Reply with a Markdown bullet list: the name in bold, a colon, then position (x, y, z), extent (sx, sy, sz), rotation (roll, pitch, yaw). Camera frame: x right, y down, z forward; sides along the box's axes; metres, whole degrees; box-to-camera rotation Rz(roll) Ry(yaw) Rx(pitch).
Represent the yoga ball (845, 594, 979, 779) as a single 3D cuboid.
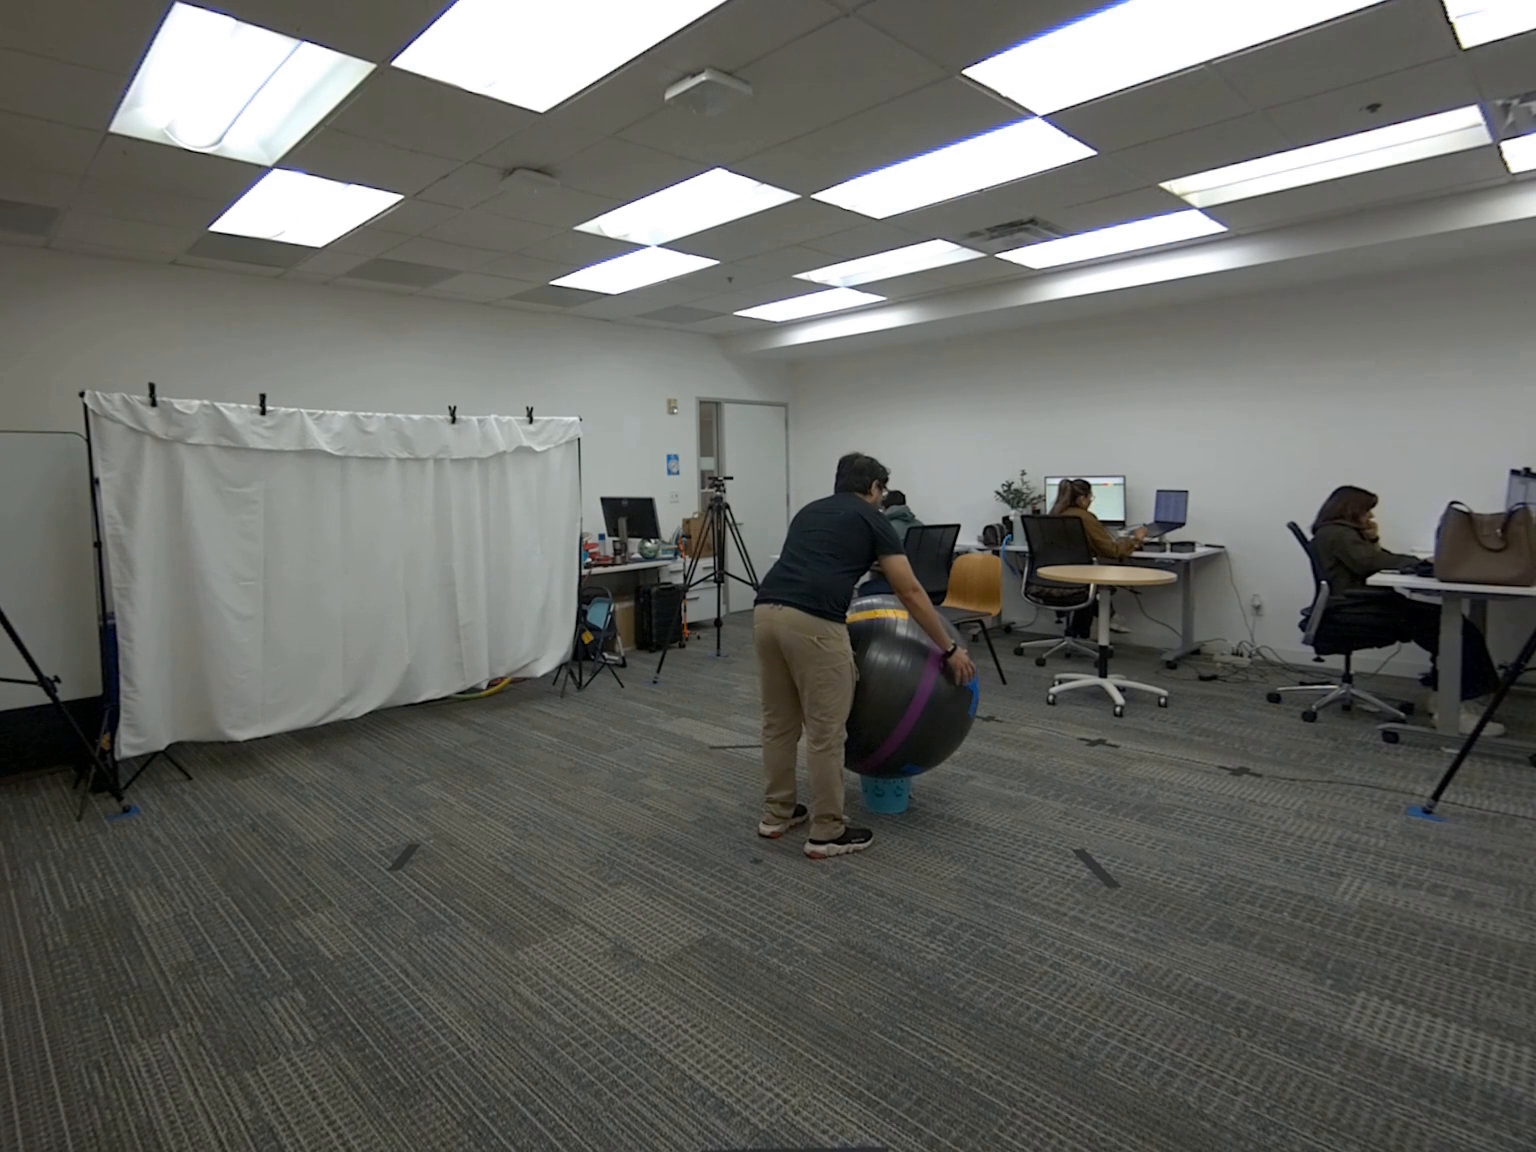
- **yoga ball**: position (0.493, 0.461, 3.587), extent (0.757, 0.755, 0.762), rotation (-1, 5, -2)
